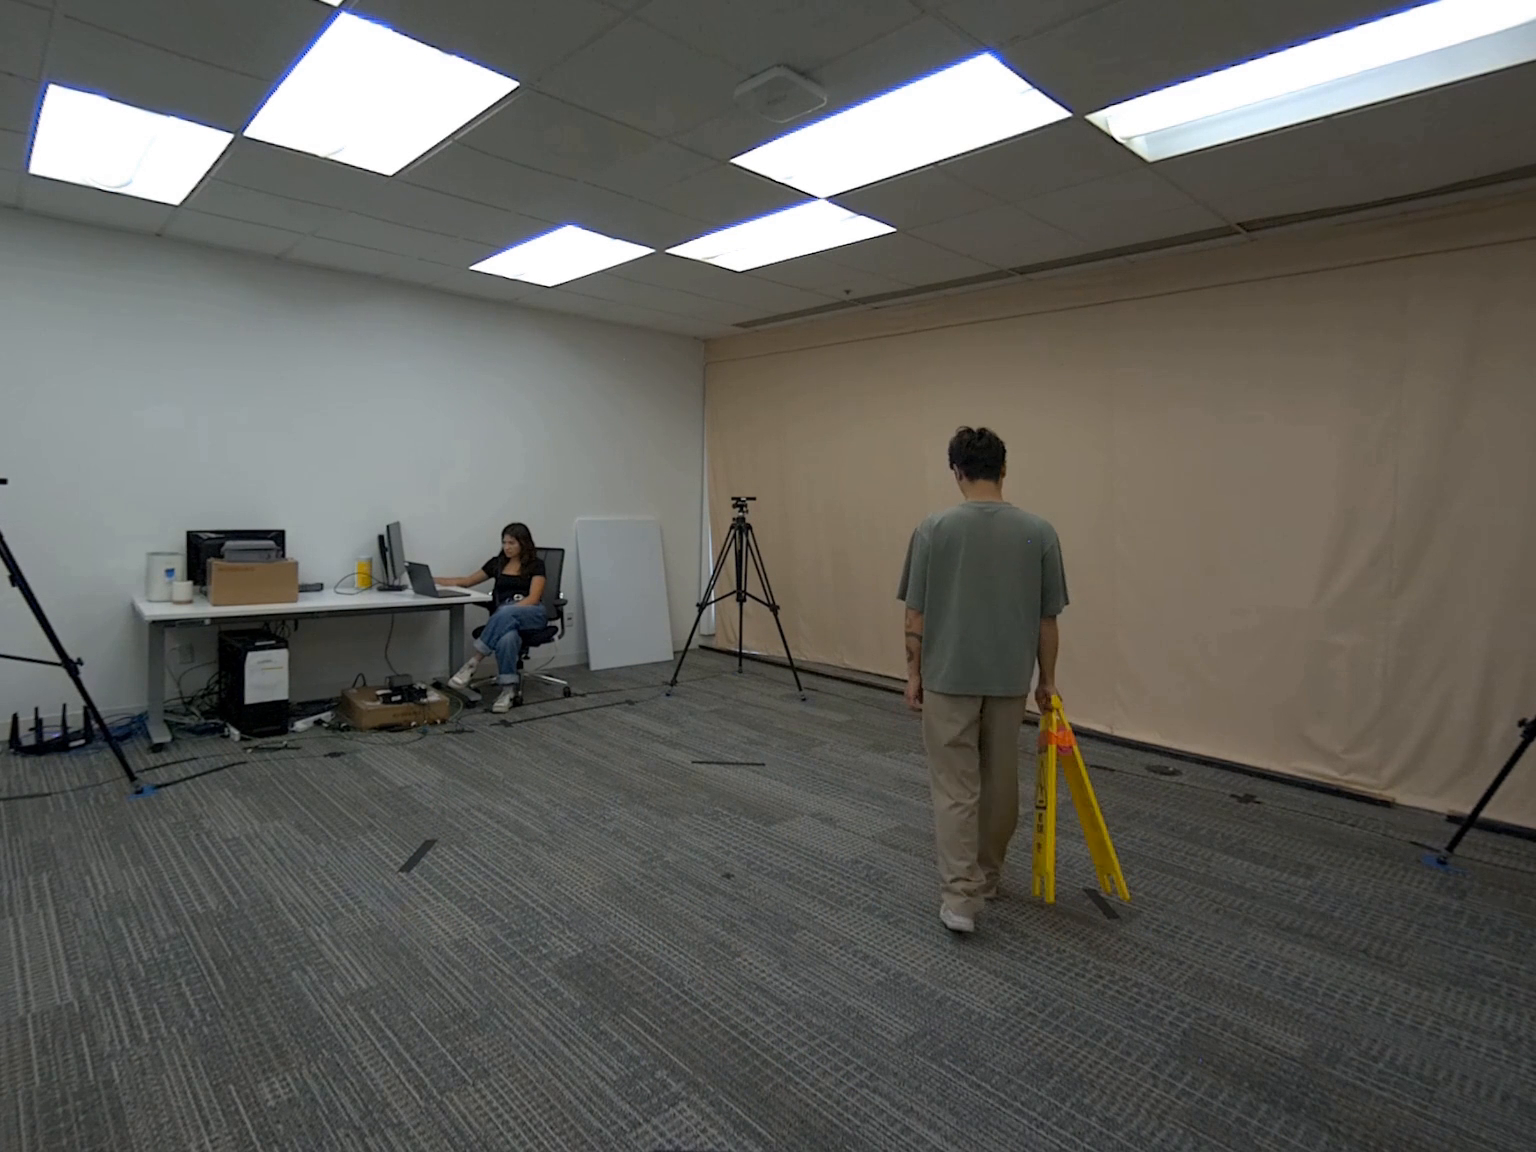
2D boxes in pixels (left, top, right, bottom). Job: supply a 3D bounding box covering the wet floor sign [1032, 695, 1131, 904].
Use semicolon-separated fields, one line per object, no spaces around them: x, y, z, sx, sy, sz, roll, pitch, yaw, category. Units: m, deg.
0.982;0.736;2.852;0.291;0.654;0.277;-4;-16;7;wet floor sign
